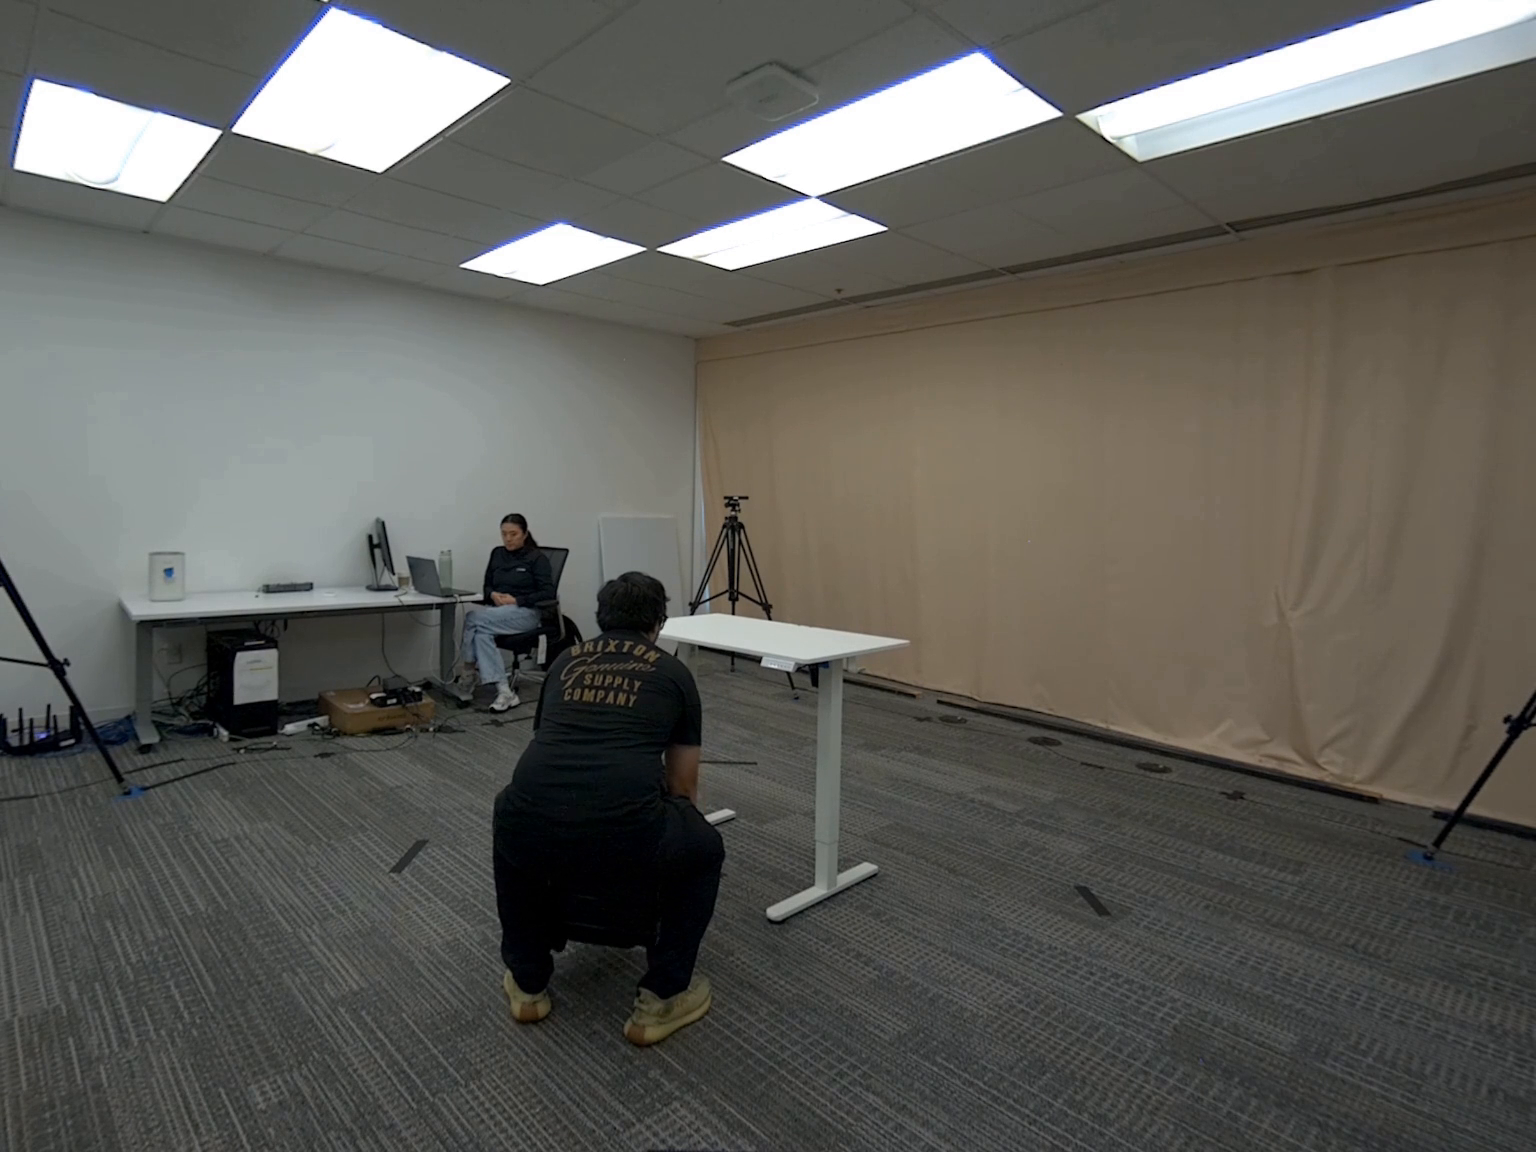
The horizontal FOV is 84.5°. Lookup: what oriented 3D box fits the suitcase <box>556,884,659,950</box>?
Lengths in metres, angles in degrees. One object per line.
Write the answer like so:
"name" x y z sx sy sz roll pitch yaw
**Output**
"suitcase" -0.466 0.817 2.475 0.379 0.548 0.246 3 2 11
